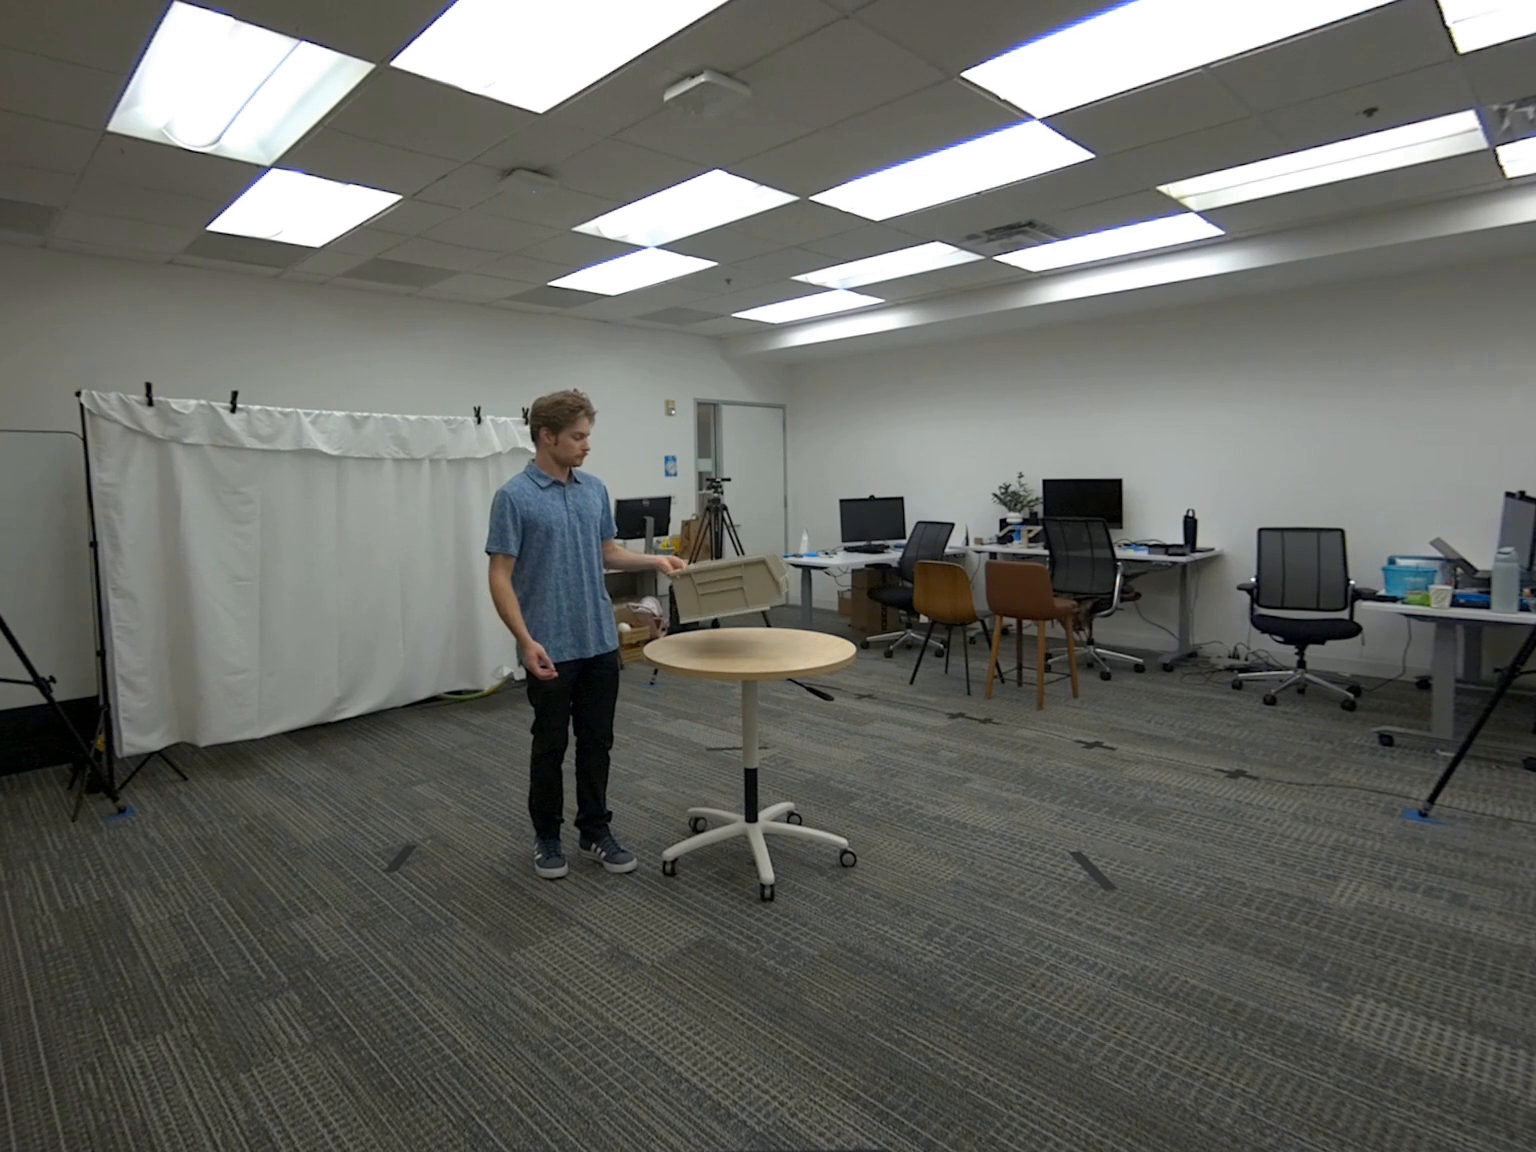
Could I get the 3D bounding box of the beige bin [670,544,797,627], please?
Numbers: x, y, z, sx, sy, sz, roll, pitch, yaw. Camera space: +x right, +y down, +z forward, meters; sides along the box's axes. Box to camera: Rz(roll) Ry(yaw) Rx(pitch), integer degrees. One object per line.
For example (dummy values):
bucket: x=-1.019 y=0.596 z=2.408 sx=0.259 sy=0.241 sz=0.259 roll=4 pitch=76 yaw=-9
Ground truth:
beige bin: x=-0.112 y=0.024 z=3.080 sx=0.380 sy=0.189 sz=0.420 roll=-11 pitch=3 yaw=7
